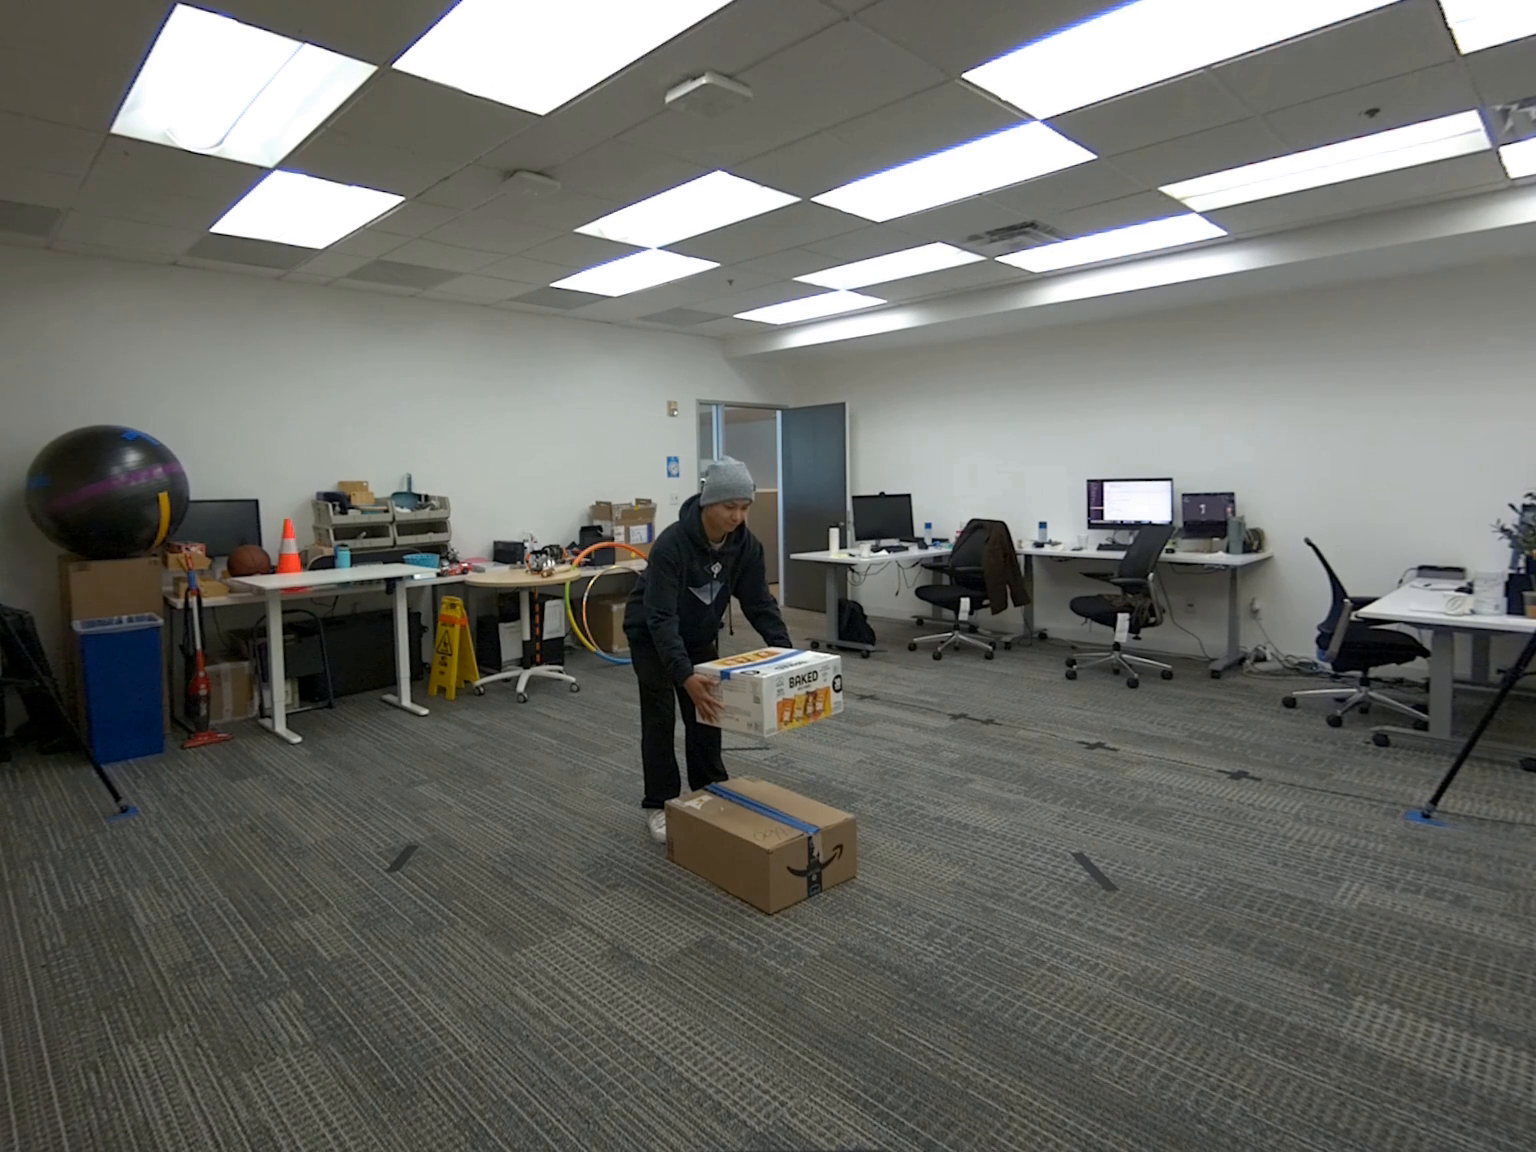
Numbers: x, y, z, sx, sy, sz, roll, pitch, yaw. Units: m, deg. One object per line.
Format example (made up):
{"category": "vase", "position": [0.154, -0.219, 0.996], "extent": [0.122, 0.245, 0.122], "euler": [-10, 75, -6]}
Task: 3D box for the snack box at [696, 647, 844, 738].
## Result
{"category": "snack box", "position": [0.005, 0.398, 3.011], "extent": [0.395, 0.205, 0.350], "euler": [-9, 7, -44]}
